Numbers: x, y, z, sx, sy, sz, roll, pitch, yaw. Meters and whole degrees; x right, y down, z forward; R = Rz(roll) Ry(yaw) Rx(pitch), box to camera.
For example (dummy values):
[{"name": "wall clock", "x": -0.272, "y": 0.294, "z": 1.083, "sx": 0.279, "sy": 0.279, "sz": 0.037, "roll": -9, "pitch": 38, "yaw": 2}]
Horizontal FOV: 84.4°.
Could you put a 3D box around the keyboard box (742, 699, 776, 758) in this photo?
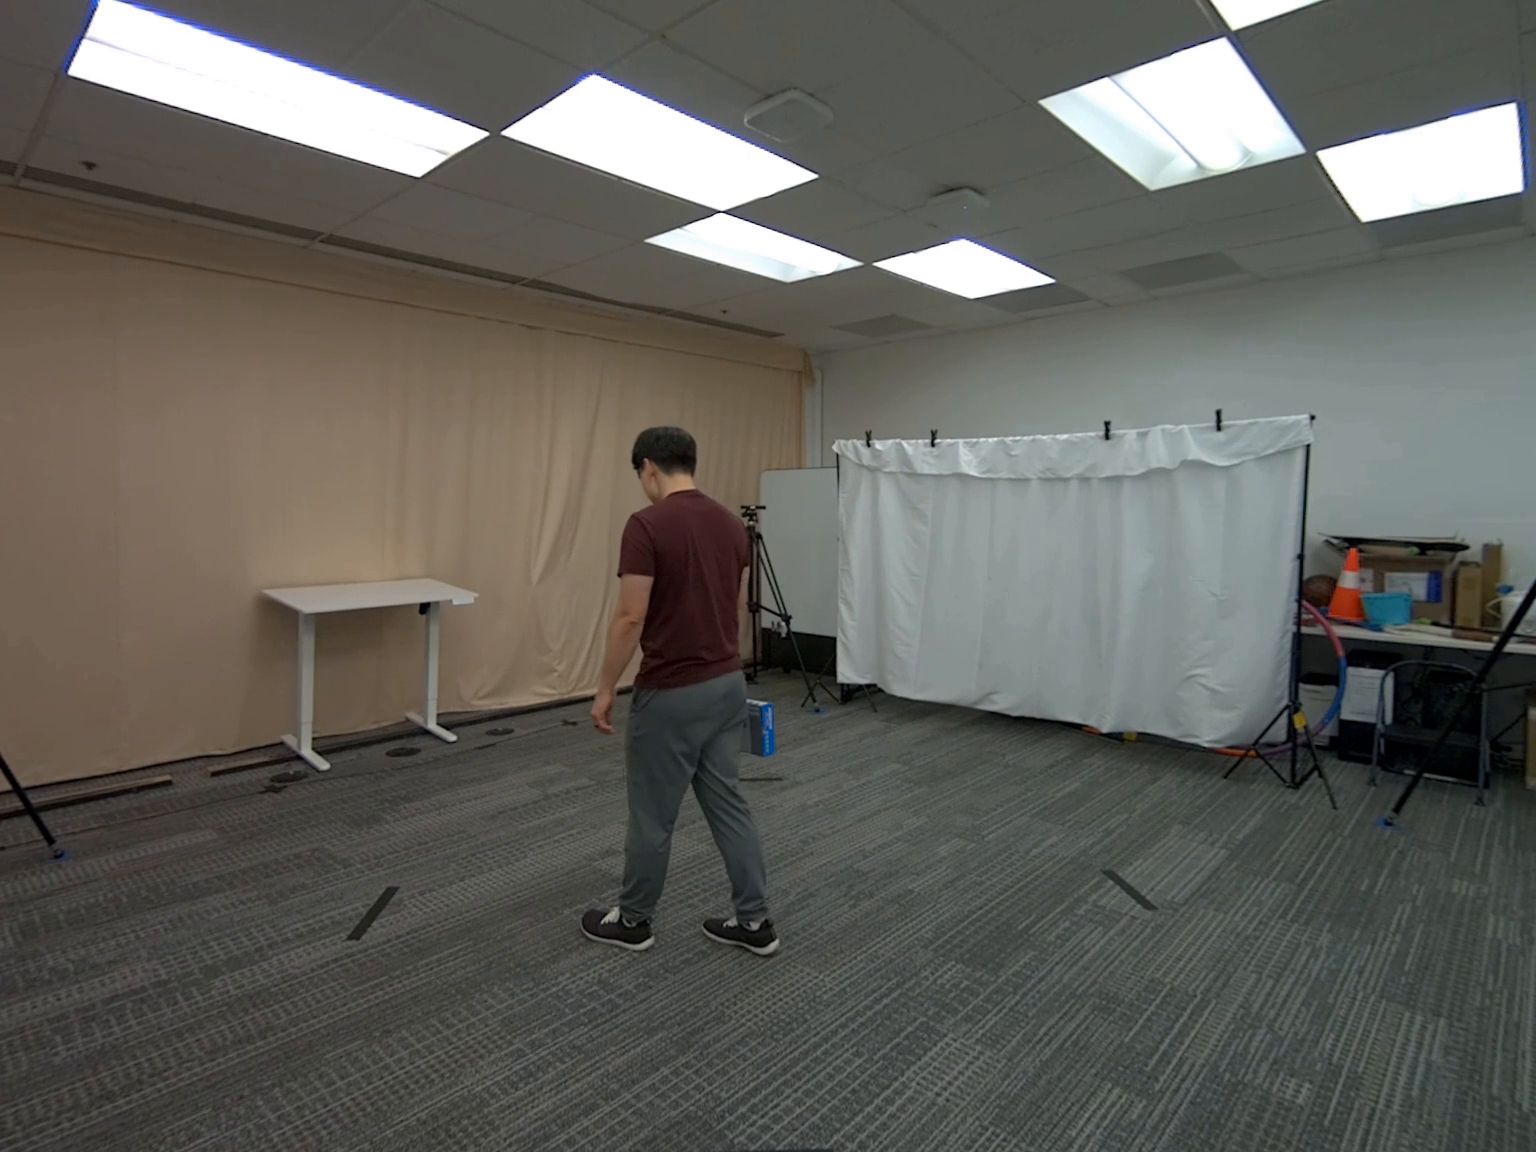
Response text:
[{"name": "keyboard box", "x": -0.158, "y": 0.507, "z": 2.954, "sx": 0.451, "sy": 0.175, "sz": 0.057, "roll": 1, "pitch": 5, "yaw": 42}]
